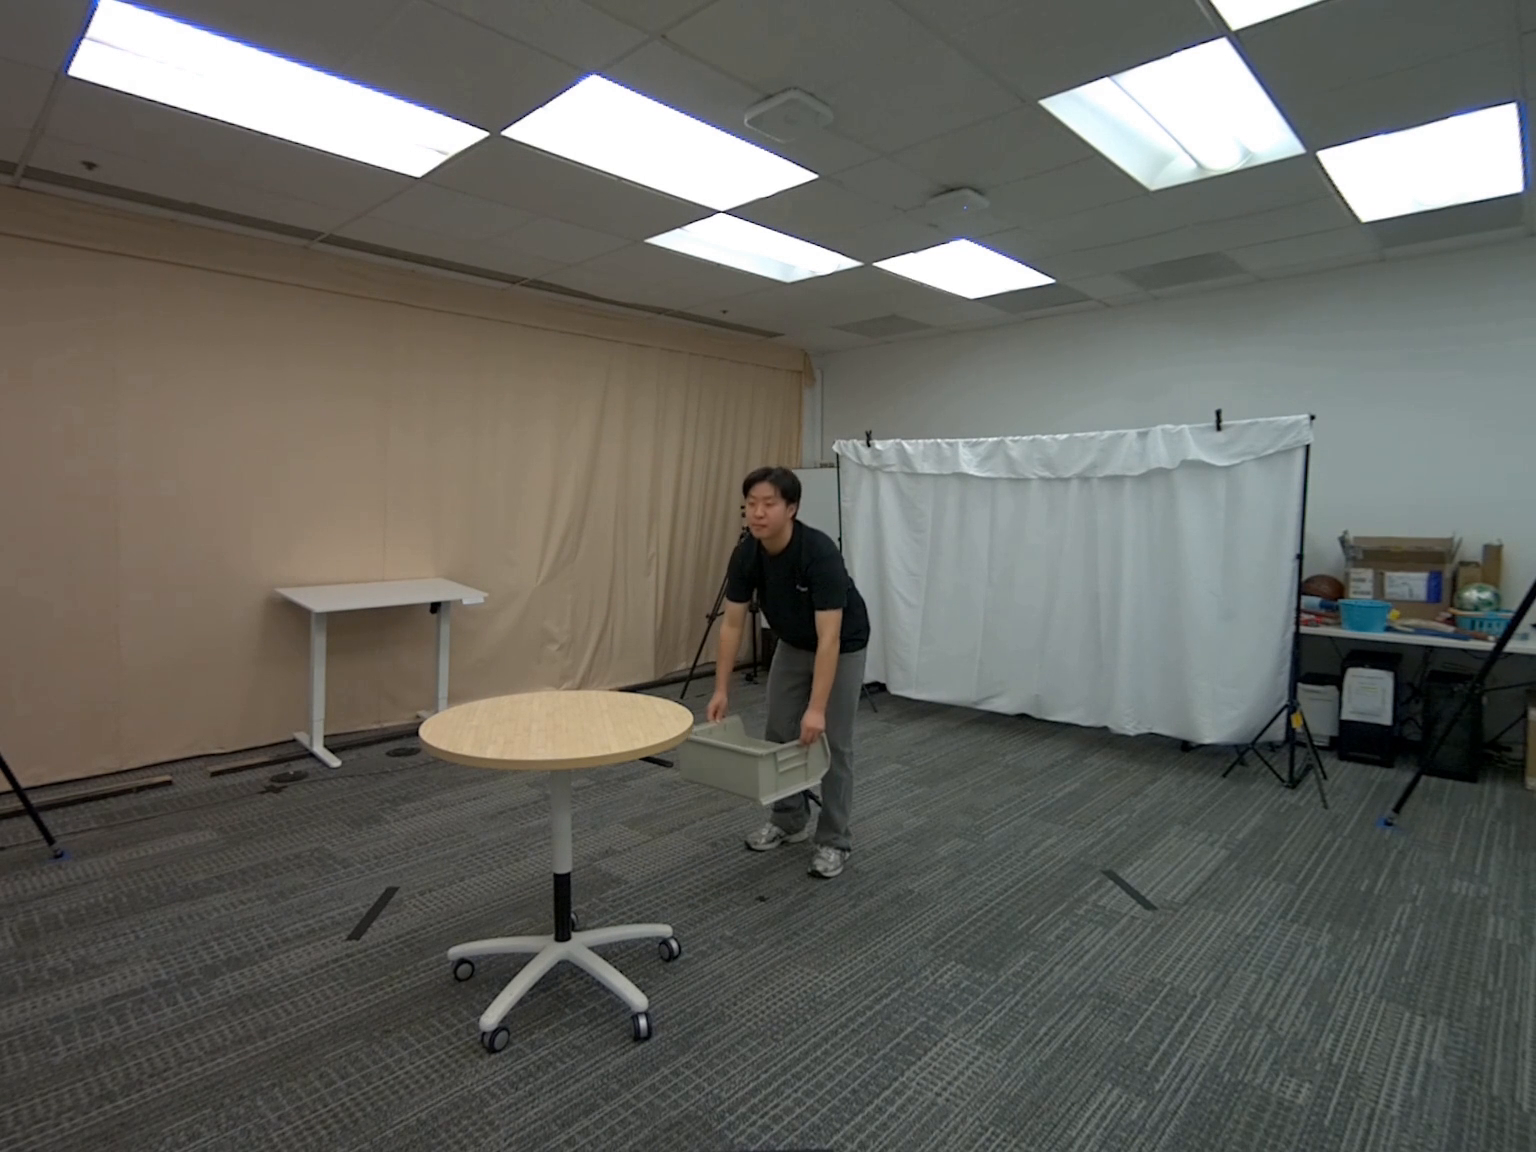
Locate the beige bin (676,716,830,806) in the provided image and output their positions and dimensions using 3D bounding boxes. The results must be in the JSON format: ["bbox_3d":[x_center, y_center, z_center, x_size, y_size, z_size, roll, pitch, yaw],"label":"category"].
[{"bbox_3d":[-0.059,0.647,3.011,0.436,0.188,0.366,3,7,42],"label":"beige bin"}]
